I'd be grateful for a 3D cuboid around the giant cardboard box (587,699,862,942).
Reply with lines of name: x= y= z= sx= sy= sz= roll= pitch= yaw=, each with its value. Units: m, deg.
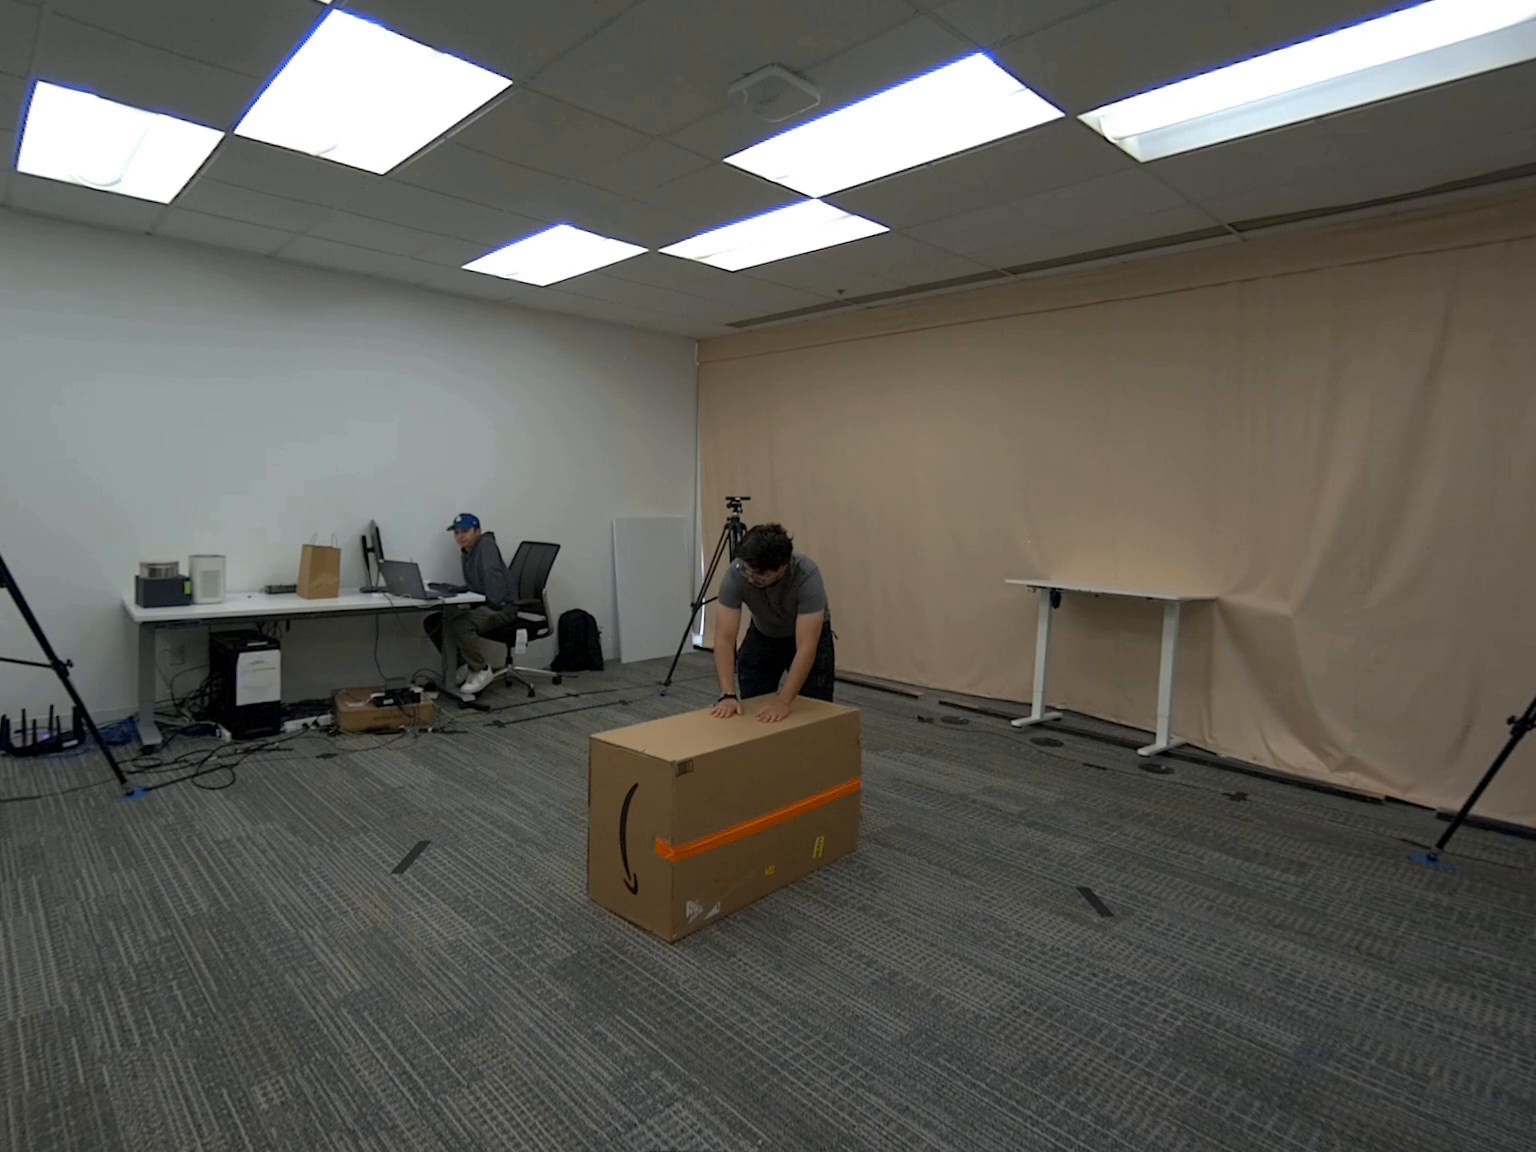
giant cardboard box: x=-0.132 y=0.819 z=3.106 sx=0.437 sy=0.576 sz=1.003 roll=5 pitch=6 yaw=41
